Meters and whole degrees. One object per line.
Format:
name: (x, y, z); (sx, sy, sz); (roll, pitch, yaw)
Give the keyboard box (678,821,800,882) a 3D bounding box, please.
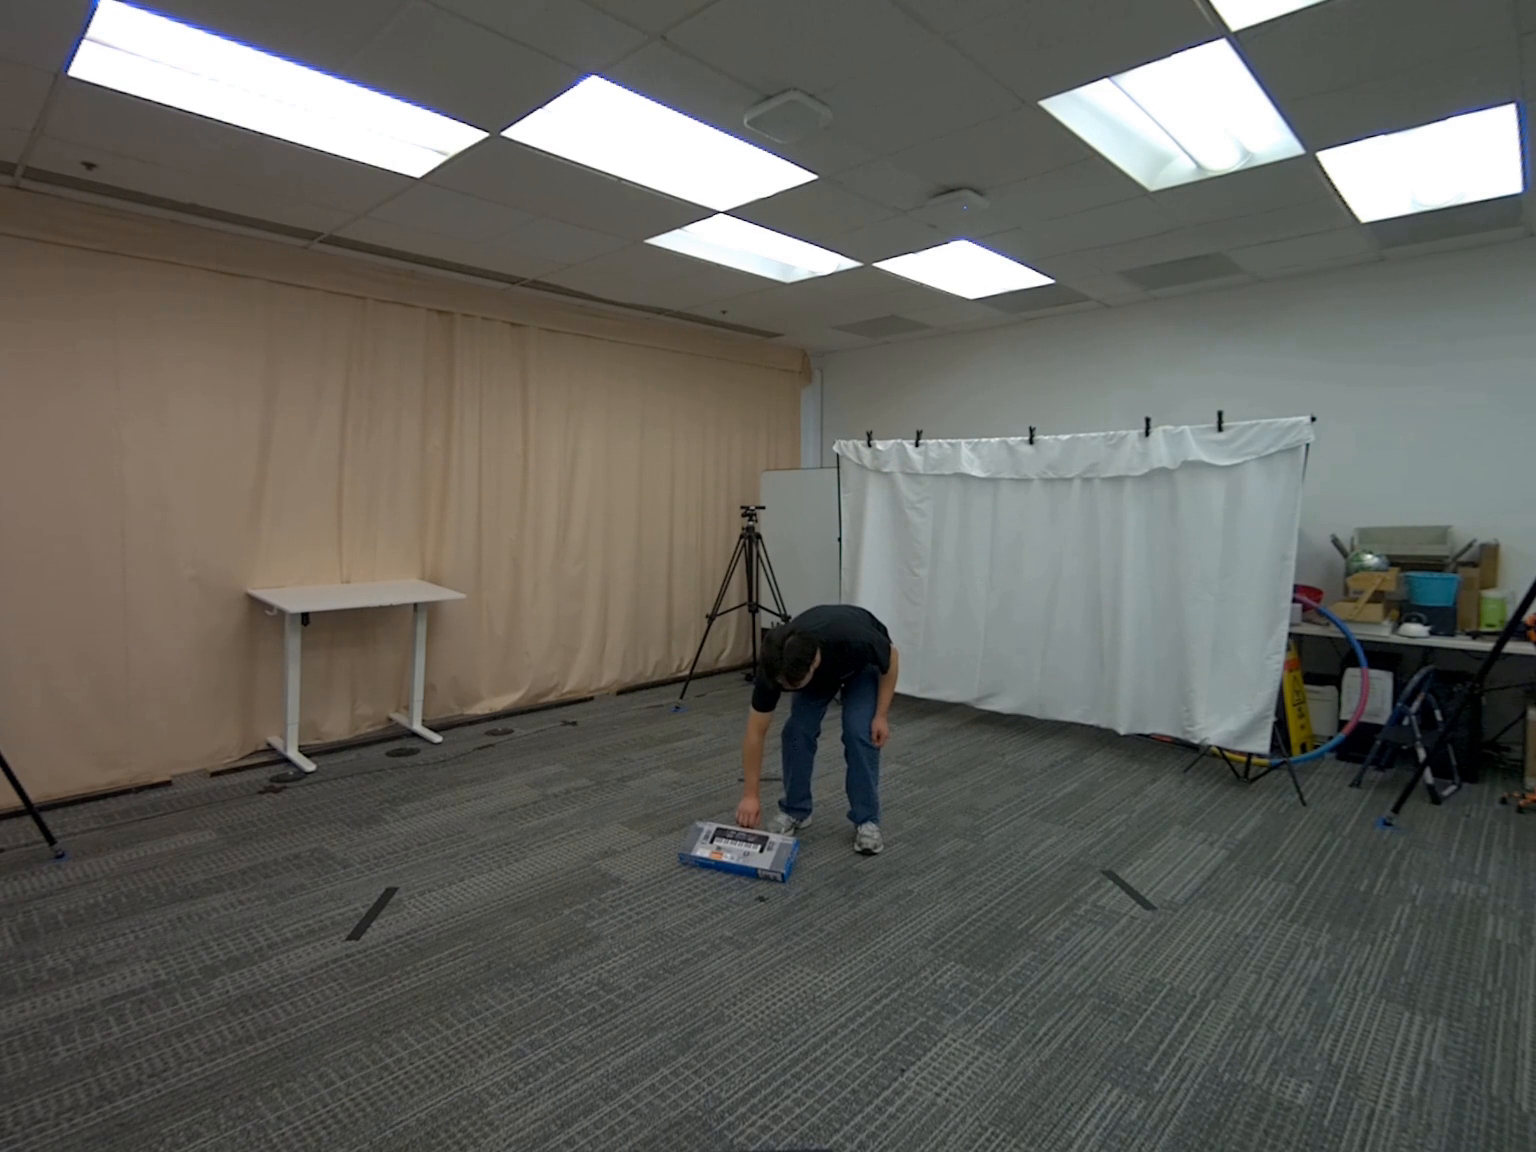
keyboard box: (-0.116, 1.061, 3.250); (0.447, 0.058, 0.175); (2, 31, 24)
